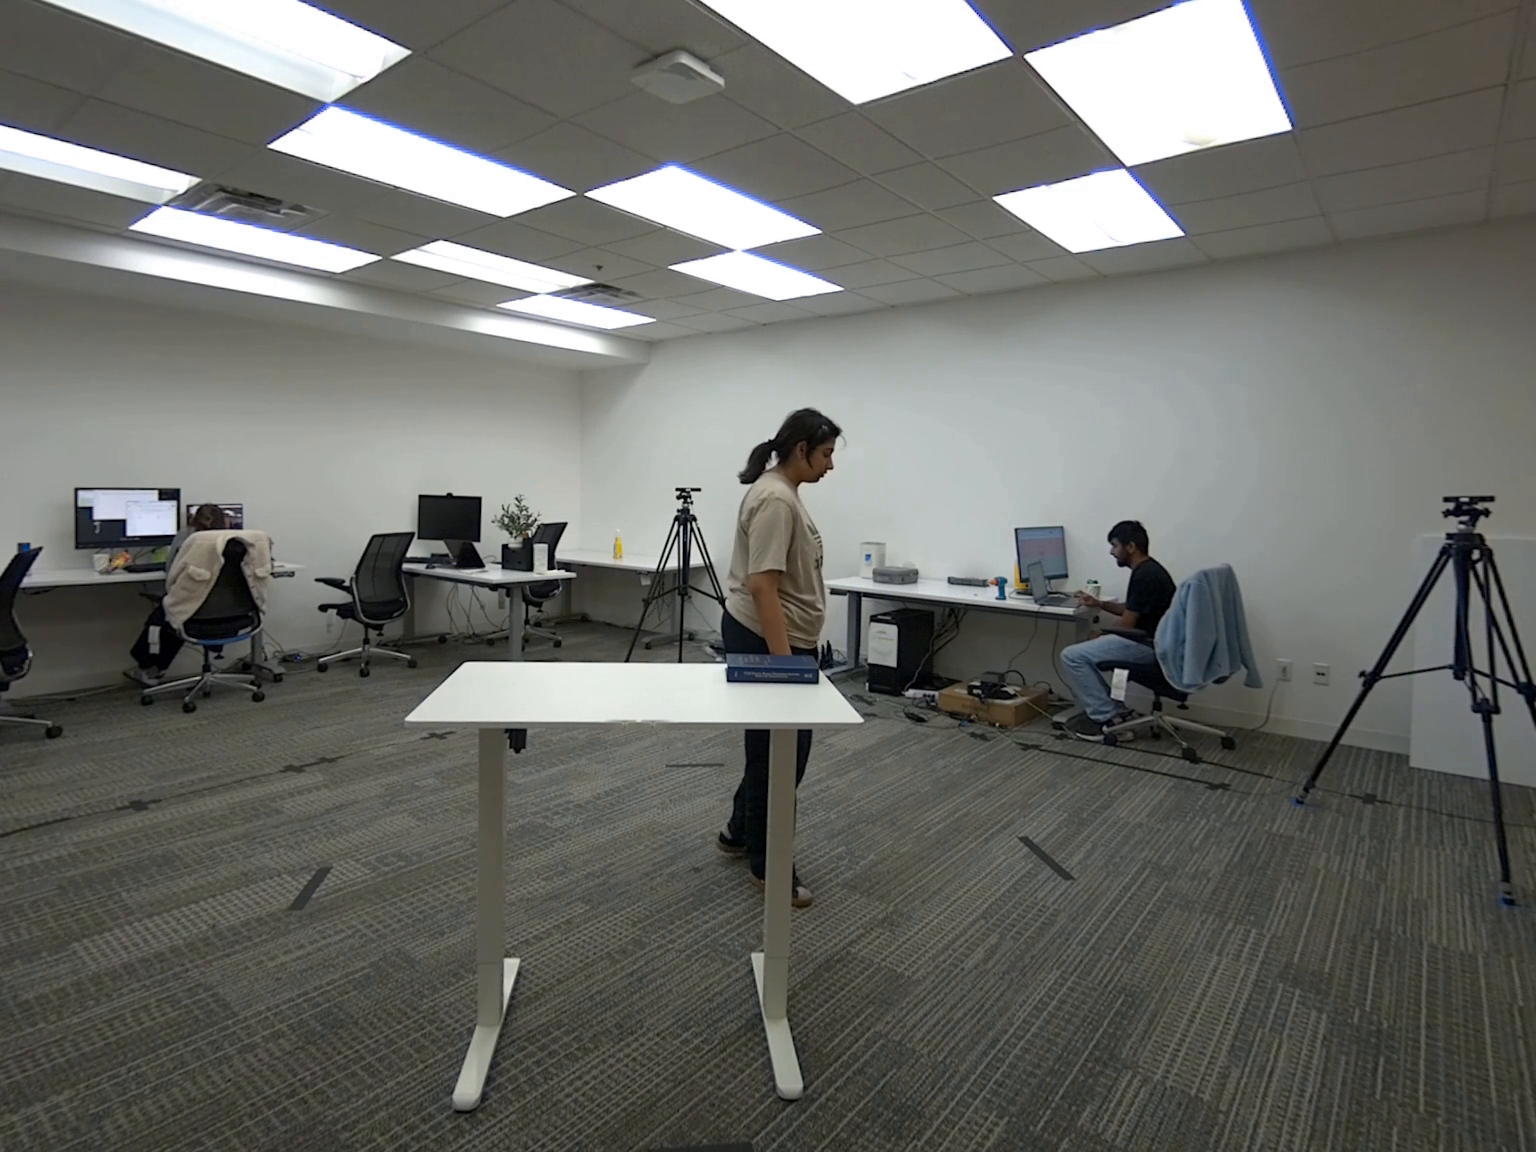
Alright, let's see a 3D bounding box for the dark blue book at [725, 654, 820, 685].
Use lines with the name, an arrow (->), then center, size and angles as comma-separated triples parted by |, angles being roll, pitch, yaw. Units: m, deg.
dark blue book -> -0.009, 0.251, 2.305 | 0.245, 0.045, 0.164 | 1, 8, -1
